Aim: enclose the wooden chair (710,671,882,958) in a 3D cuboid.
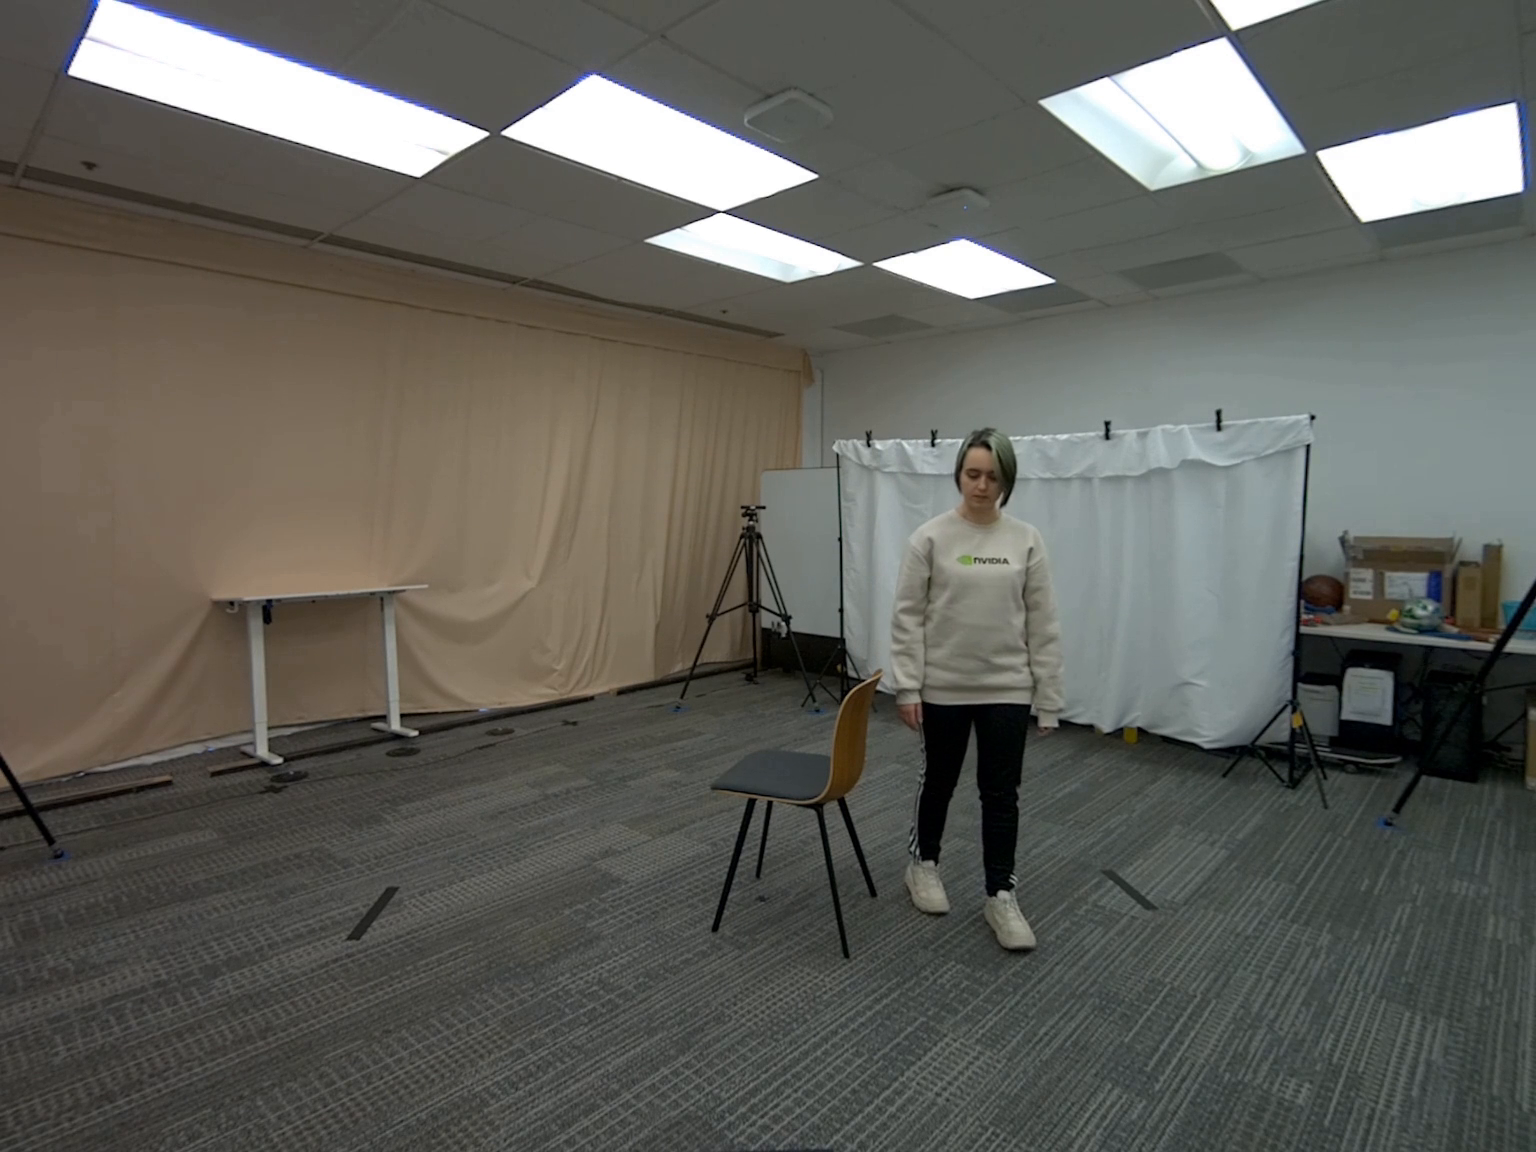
[{"bbox_3d":[0.096,0.729,2.845,0.535,0.875,0.468,6,5,21],"label":"wooden chair"}]
